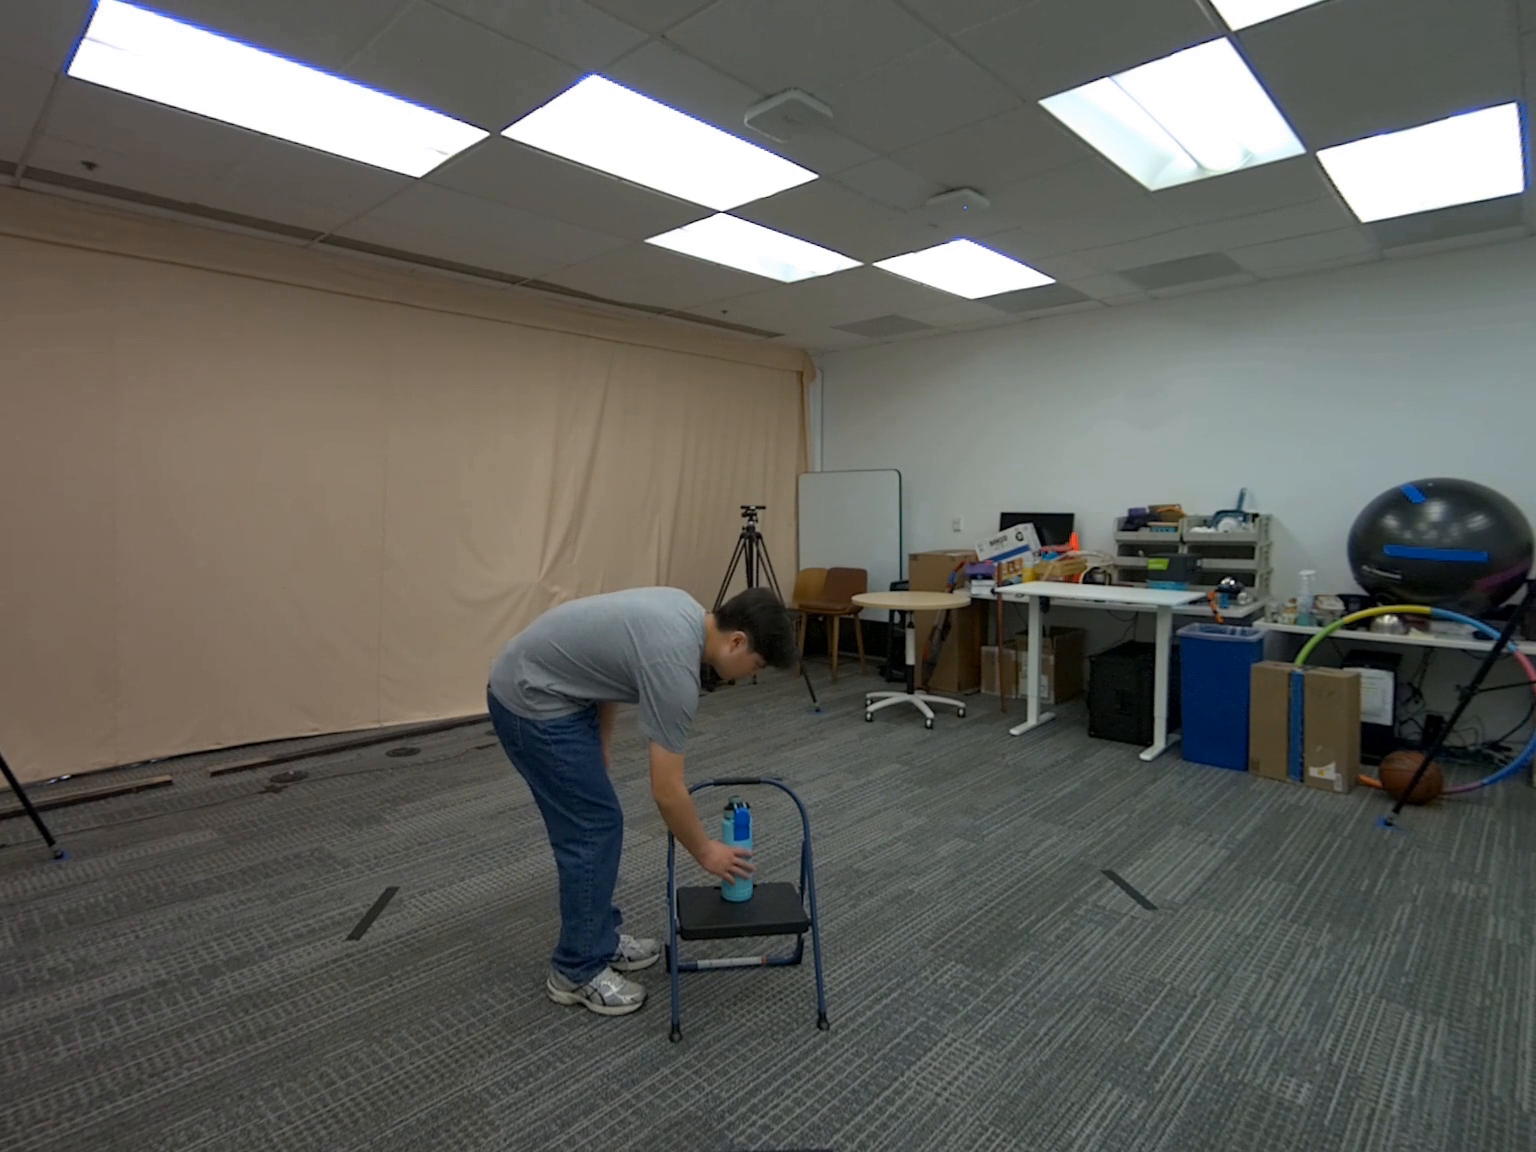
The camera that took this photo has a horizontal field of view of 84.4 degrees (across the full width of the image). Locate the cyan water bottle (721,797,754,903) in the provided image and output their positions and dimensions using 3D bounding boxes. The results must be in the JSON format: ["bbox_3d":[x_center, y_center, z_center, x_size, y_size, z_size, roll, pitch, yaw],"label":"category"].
[{"bbox_3d":[-0.091,0.792,2.424,0.092,0.283,0.092,1,2,-2],"label":"cyan water bottle"}]
